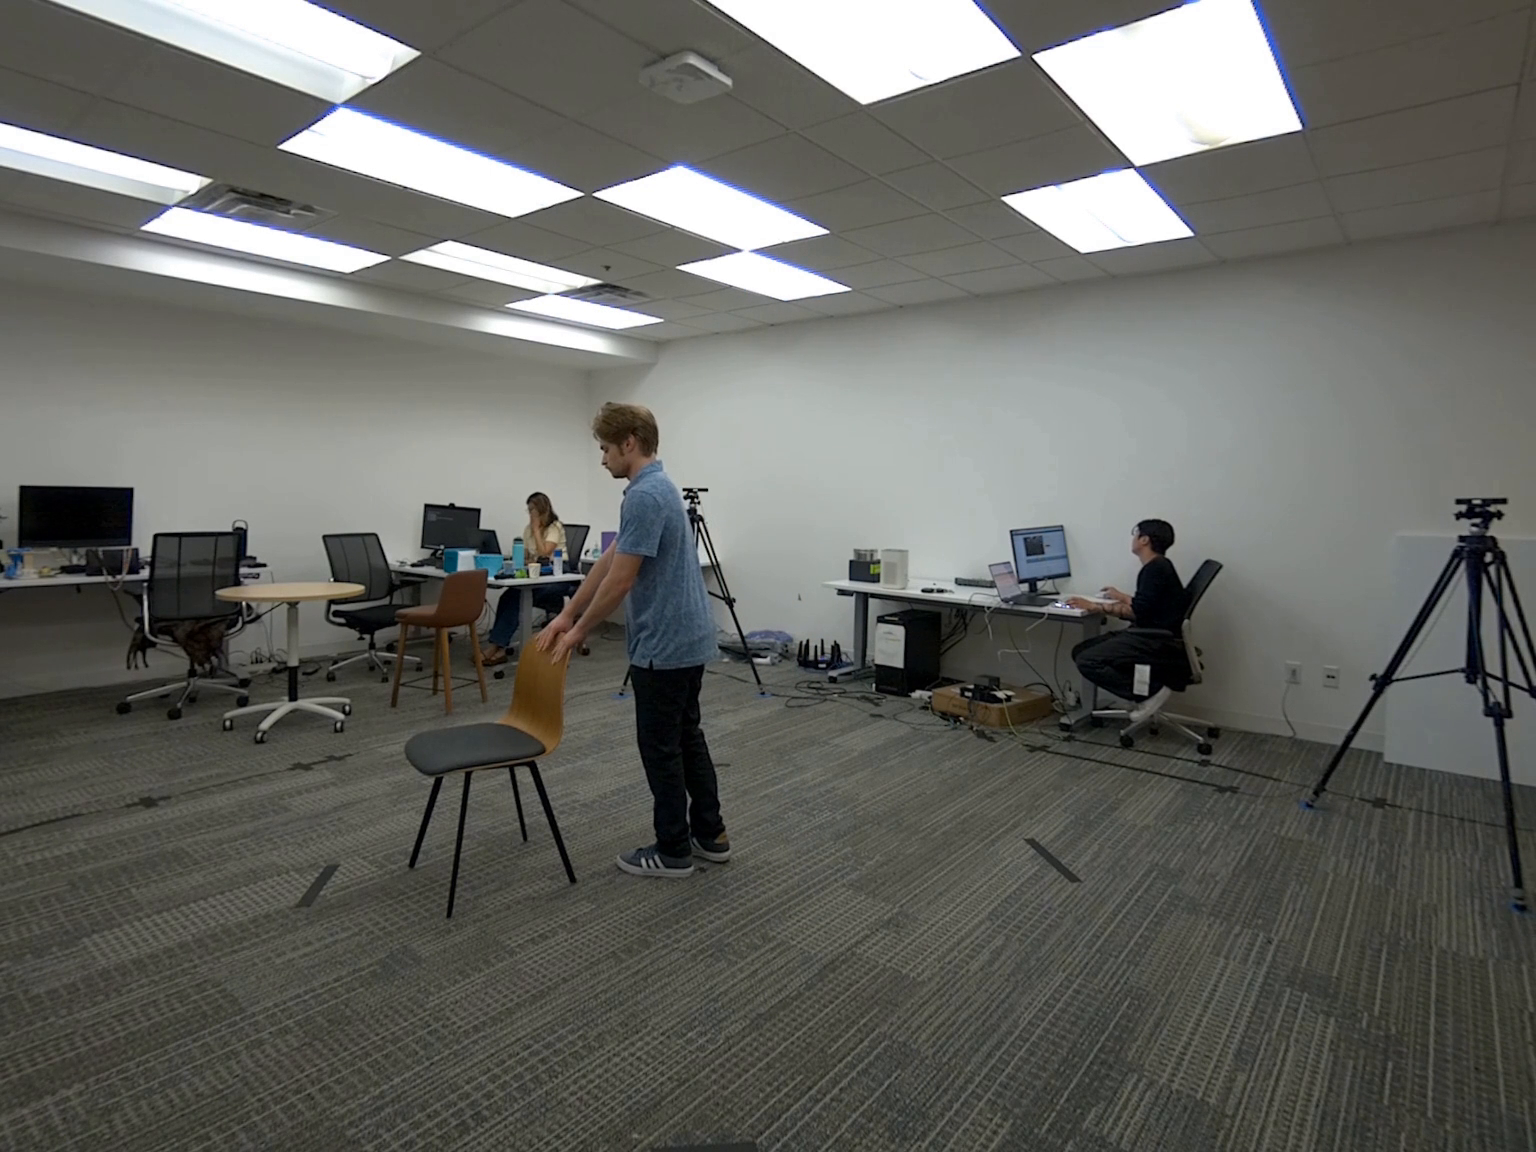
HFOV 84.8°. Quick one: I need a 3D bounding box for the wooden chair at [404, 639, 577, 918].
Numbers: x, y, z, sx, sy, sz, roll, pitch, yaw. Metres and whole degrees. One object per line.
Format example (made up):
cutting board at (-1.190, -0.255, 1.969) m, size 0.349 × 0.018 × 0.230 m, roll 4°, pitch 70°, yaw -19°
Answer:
wooden chair at (-0.999, 0.639, 3.003) m, size 0.506 × 0.877 × 0.494 m, roll 4°, pitch 1°, yaw -37°
